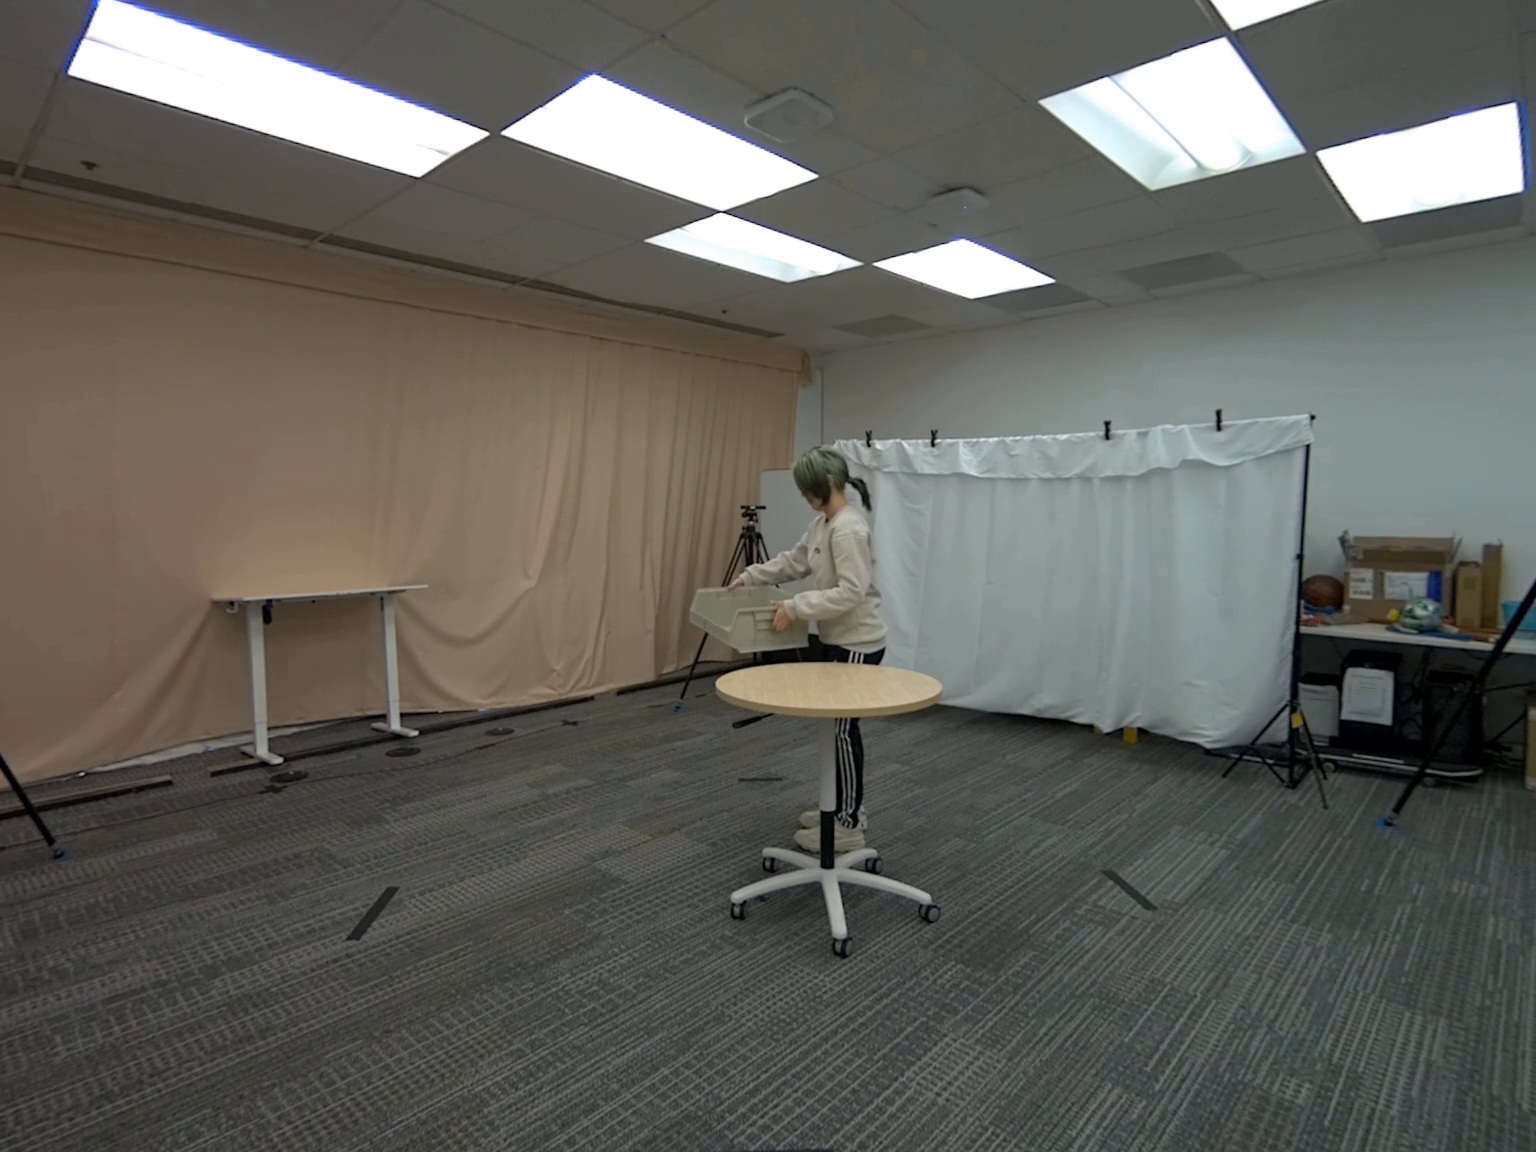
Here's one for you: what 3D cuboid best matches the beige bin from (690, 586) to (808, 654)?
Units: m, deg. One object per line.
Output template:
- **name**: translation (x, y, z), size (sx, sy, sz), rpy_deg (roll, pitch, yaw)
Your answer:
- **beige bin**: translation (-0.078, 0.175, 3.540), size (0.369, 0.188, 0.434), rpy_deg (-3, 10, -24)
